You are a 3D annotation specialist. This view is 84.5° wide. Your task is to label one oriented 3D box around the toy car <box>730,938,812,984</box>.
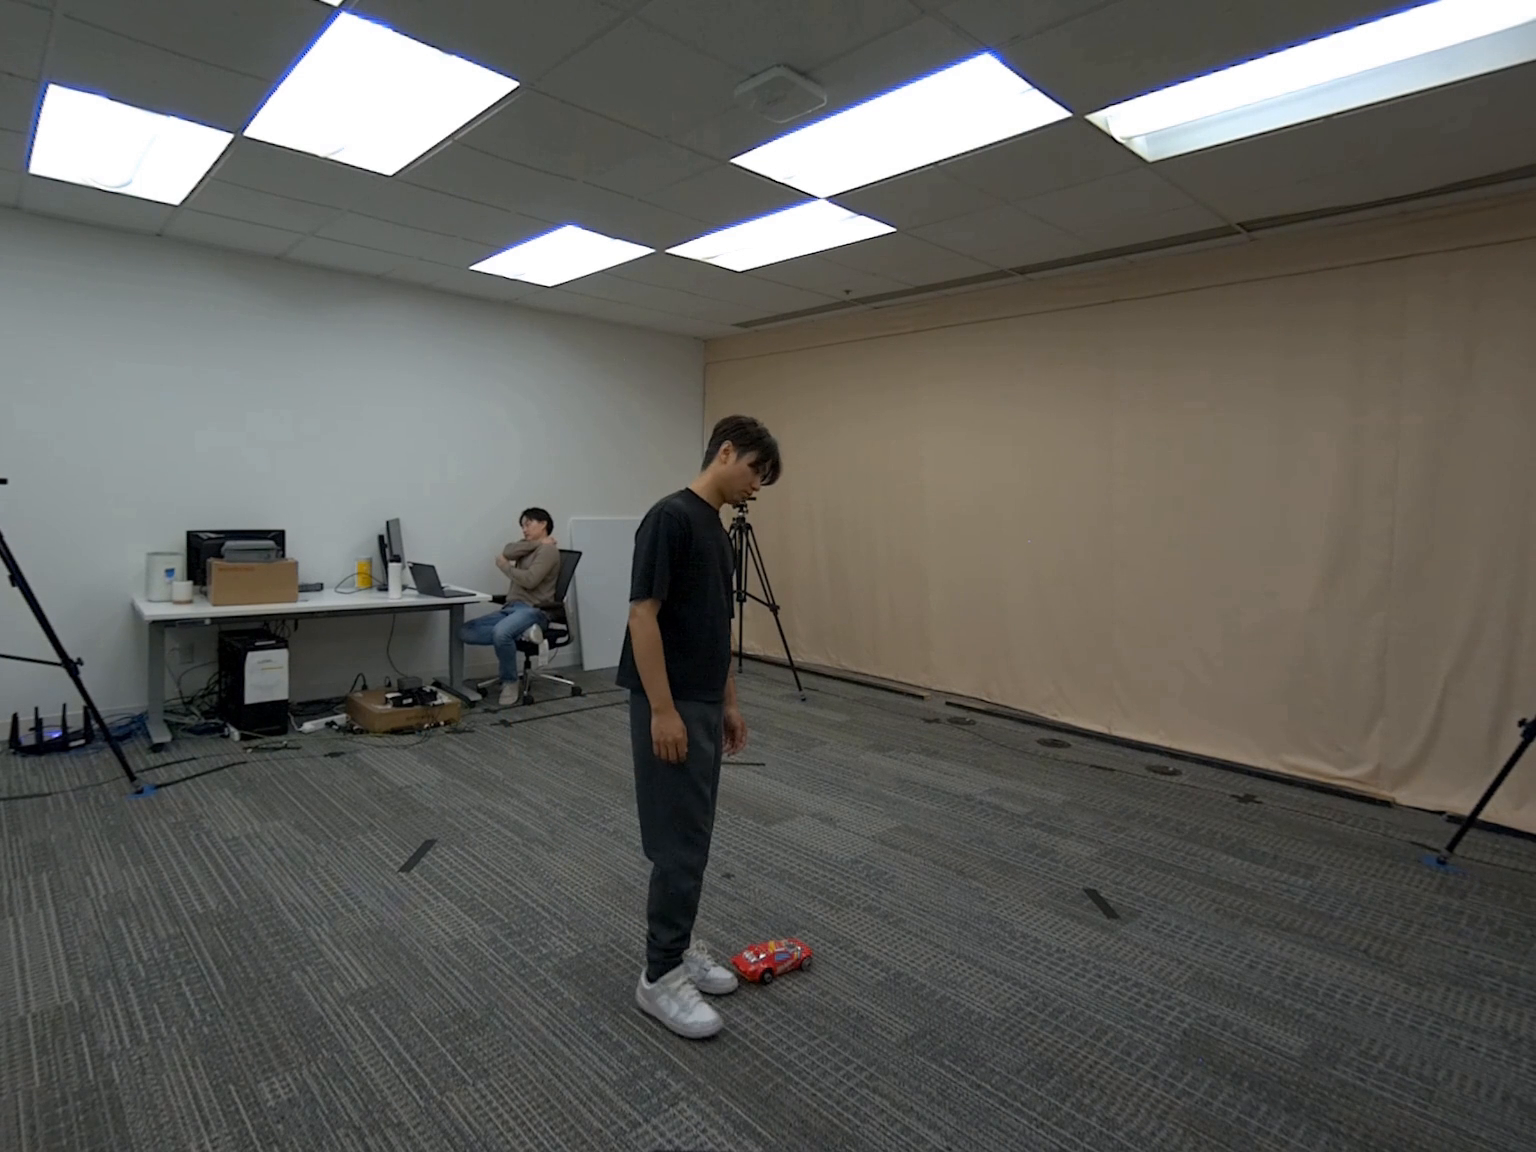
[{"bbox_3d":[0.005,1.138,2.480,0.248,0.083,0.133,11,-1,-34],"label":"toy car"}]
